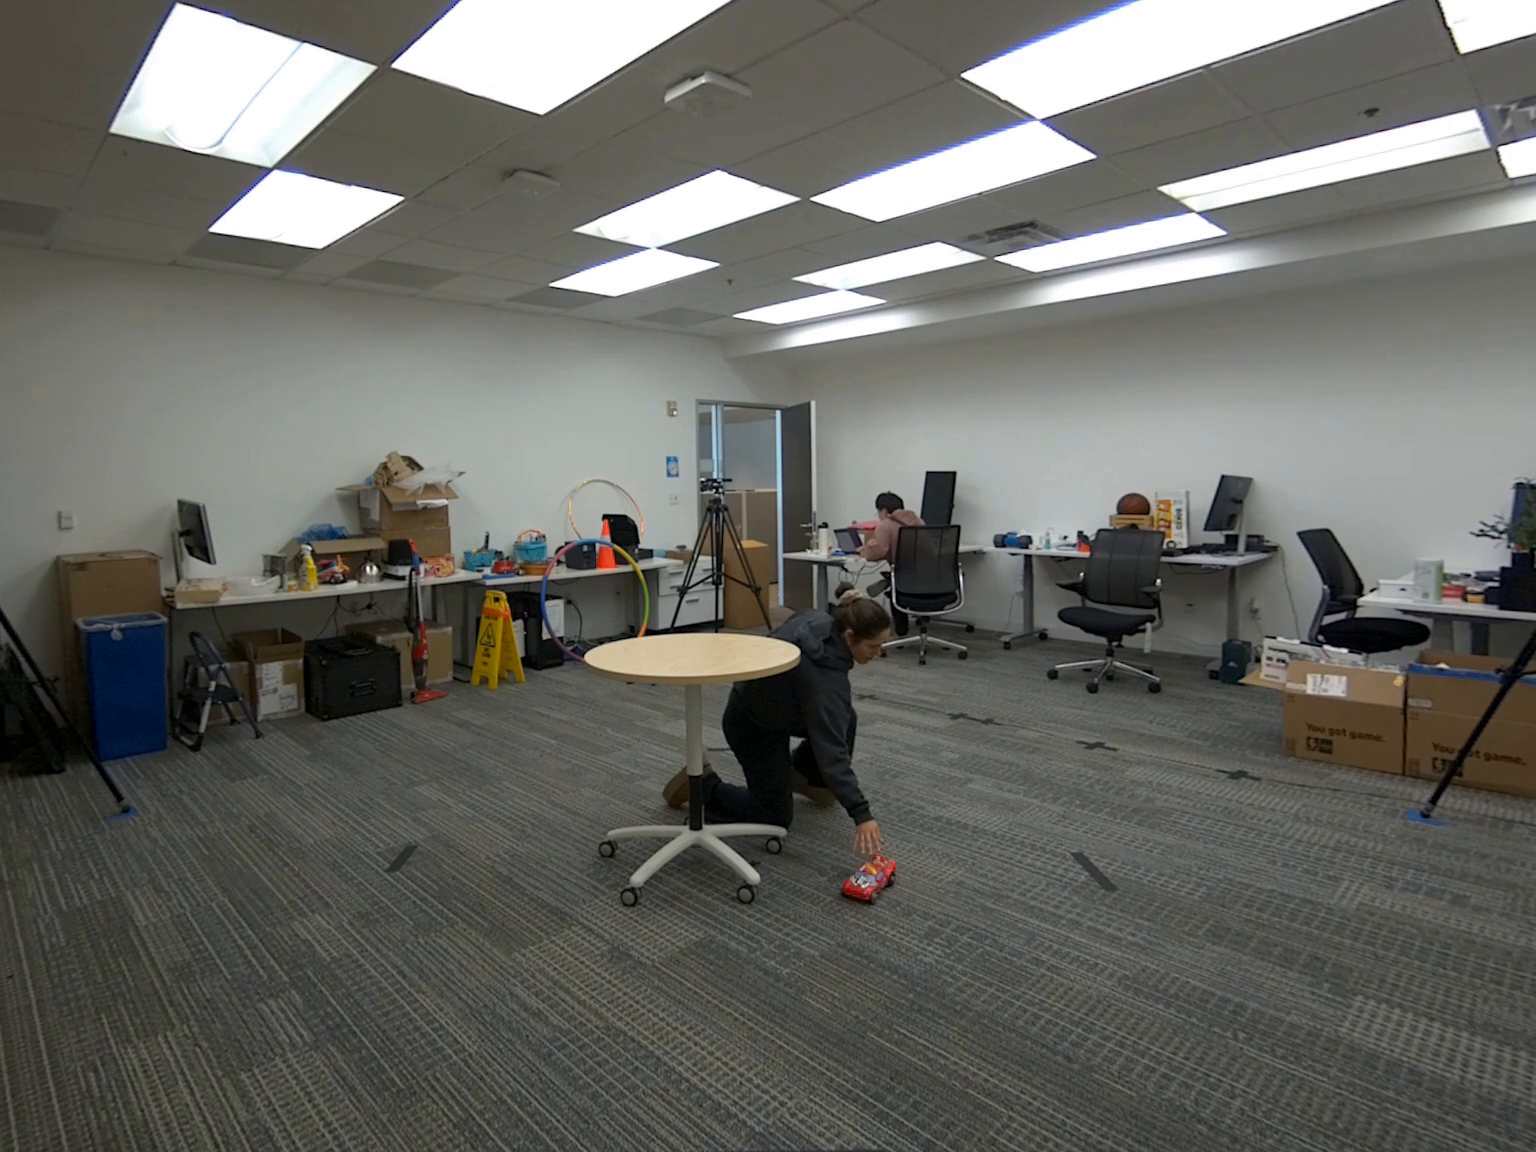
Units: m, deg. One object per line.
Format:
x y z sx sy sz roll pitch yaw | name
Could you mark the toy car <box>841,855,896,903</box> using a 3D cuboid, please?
0.356 1.036 2.889 0.134 0.082 0.251 2 17 33 | toy car
